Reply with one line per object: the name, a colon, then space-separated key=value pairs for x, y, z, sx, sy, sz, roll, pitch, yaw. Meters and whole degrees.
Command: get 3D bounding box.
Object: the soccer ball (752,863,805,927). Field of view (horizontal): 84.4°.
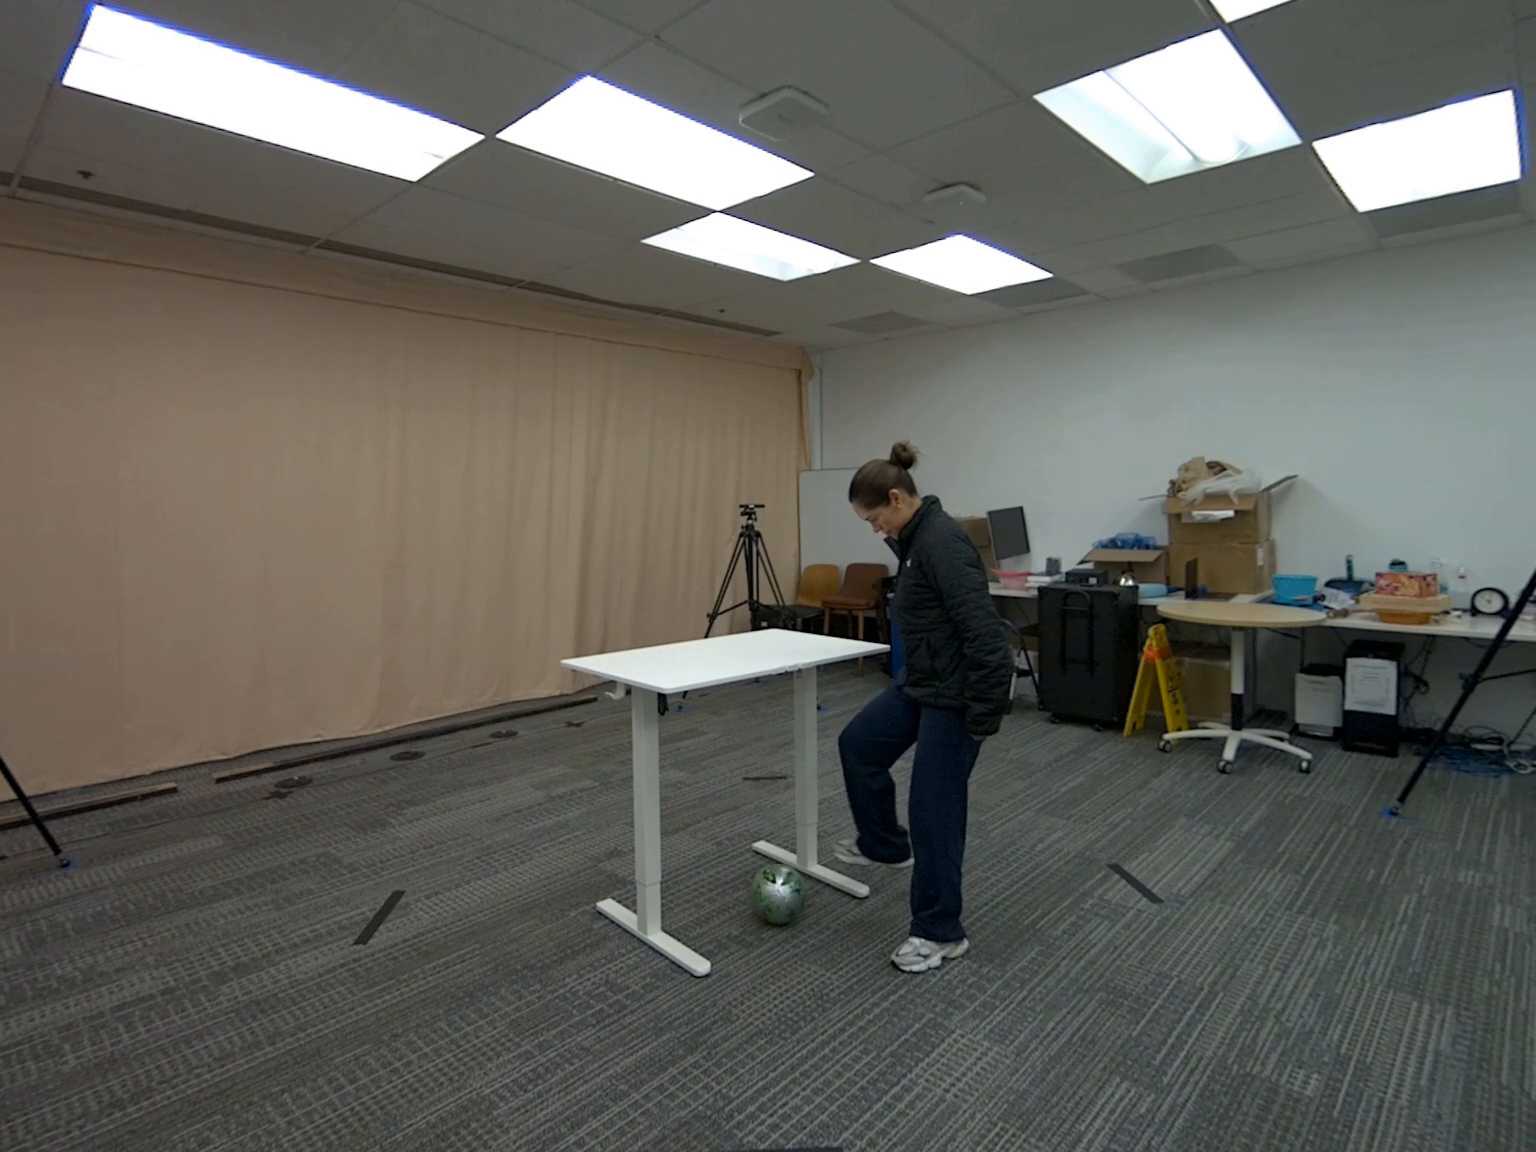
soccer ball: x=0.039 y=1.062 z=2.805 sx=0.187 sy=0.187 sz=0.188 roll=-1 pitch=4 yaw=-2
